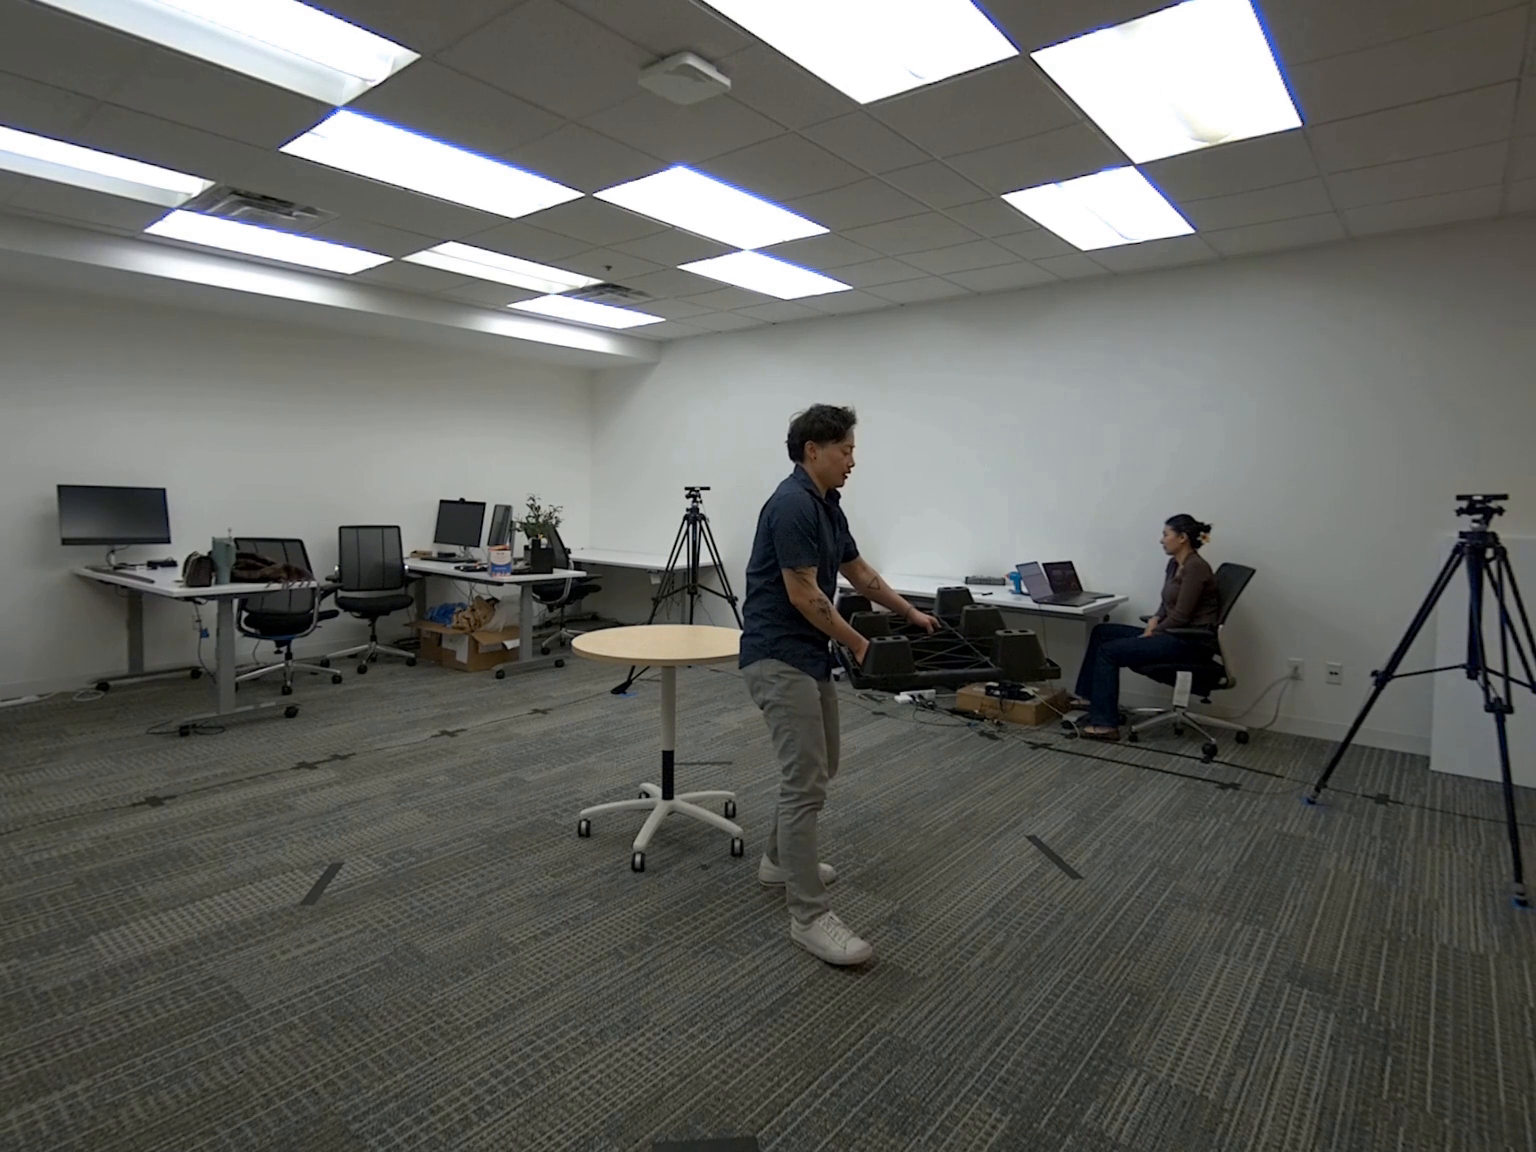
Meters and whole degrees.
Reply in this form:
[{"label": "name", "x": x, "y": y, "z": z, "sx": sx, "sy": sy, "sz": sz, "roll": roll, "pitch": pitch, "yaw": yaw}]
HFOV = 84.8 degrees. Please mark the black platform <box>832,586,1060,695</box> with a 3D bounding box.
[{"label": "black platform", "x": 0.525, "y": 0.181, "z": 2.825, "sx": 0.605, "sy": 0.142, "sz": 0.814, "roll": -4, "pitch": 11, "yaw": -1}]
